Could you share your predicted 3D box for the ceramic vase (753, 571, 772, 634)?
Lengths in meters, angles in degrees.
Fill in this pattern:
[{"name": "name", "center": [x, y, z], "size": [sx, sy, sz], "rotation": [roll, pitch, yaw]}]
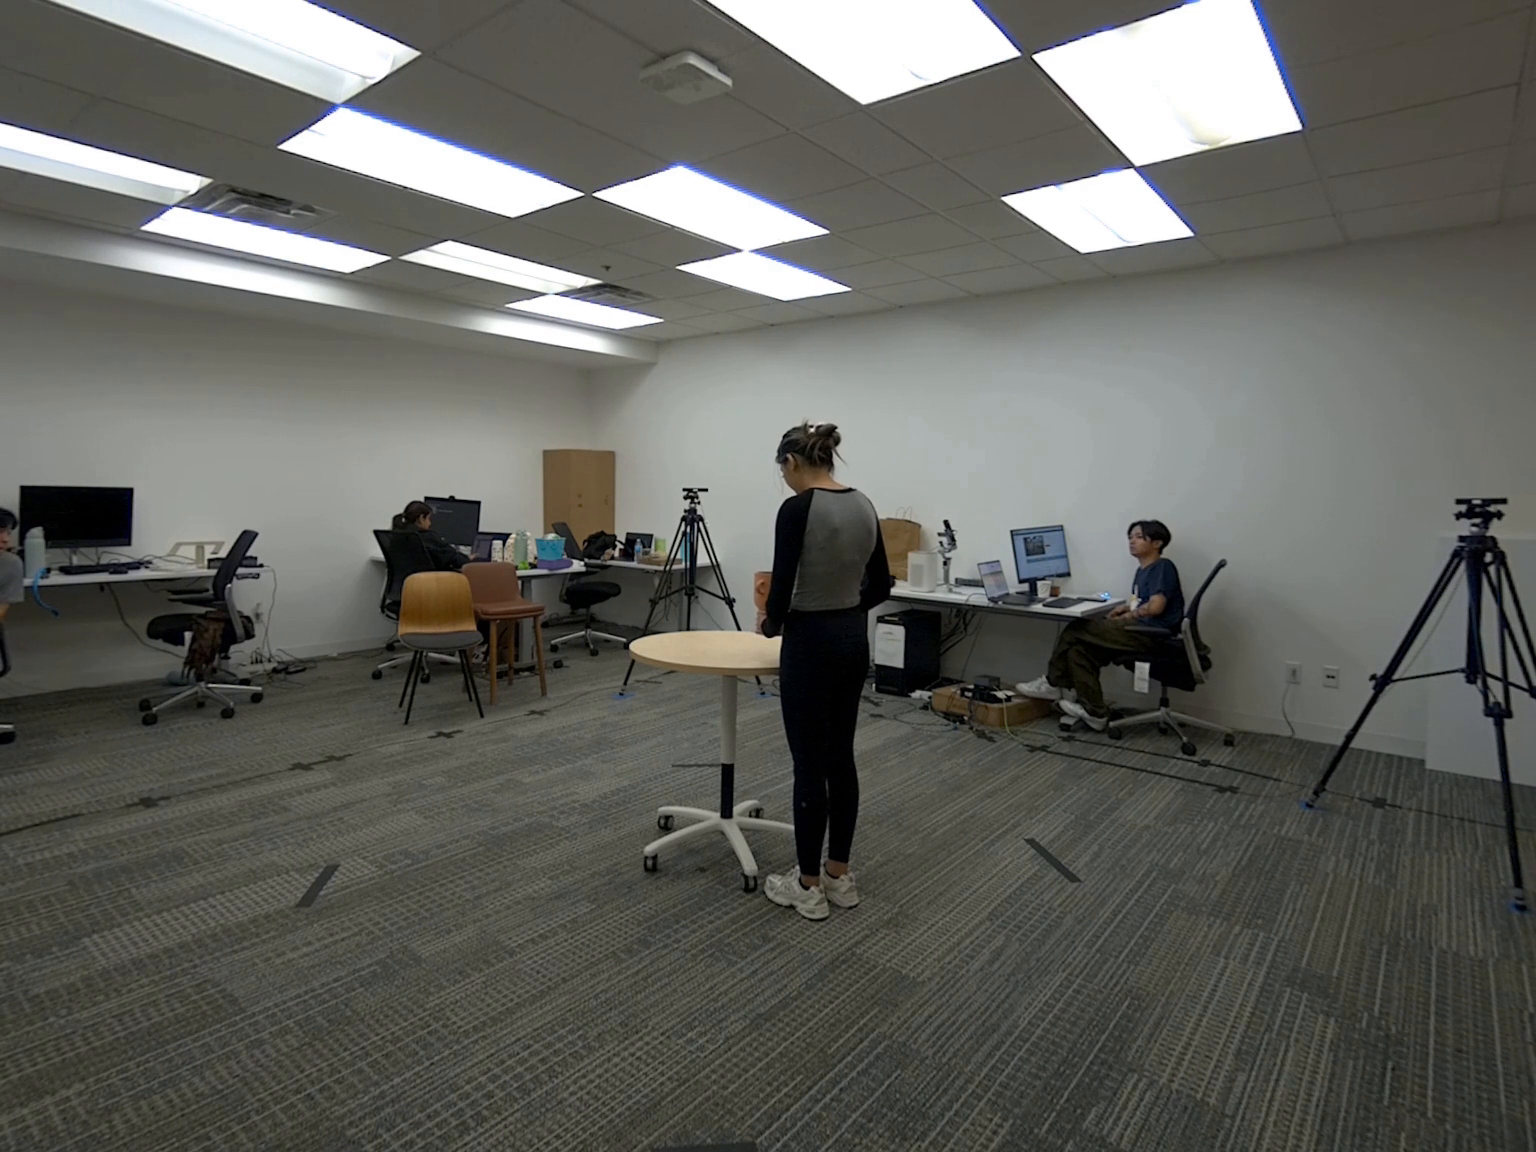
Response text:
[{"name": "ceramic vase", "center": [0.007, 0.101, 2.997], "size": [0.156, 0.220, 0.137], "rotation": [1, 1, -16]}]
